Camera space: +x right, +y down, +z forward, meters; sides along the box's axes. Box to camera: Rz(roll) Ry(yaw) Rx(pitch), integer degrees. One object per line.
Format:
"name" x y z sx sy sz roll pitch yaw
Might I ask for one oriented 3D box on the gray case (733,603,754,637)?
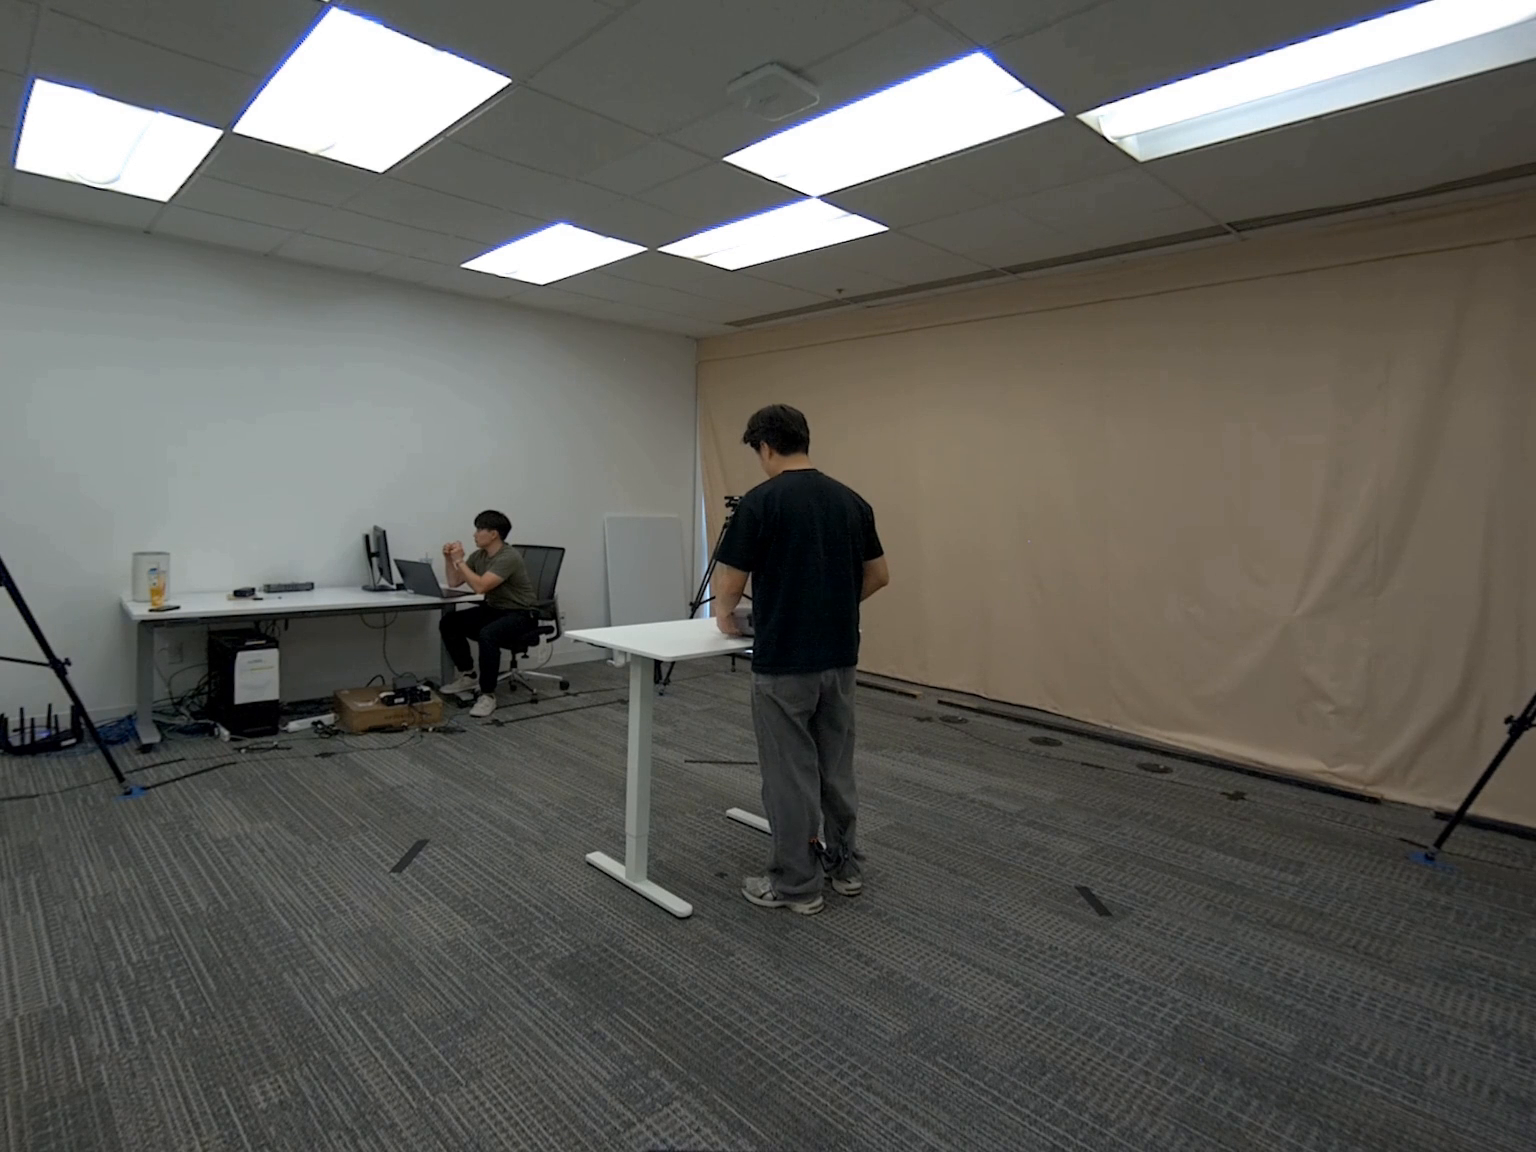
"gray case" -0.026 0.160 3.163 0.254 0.104 0.262 -2 0 -42
